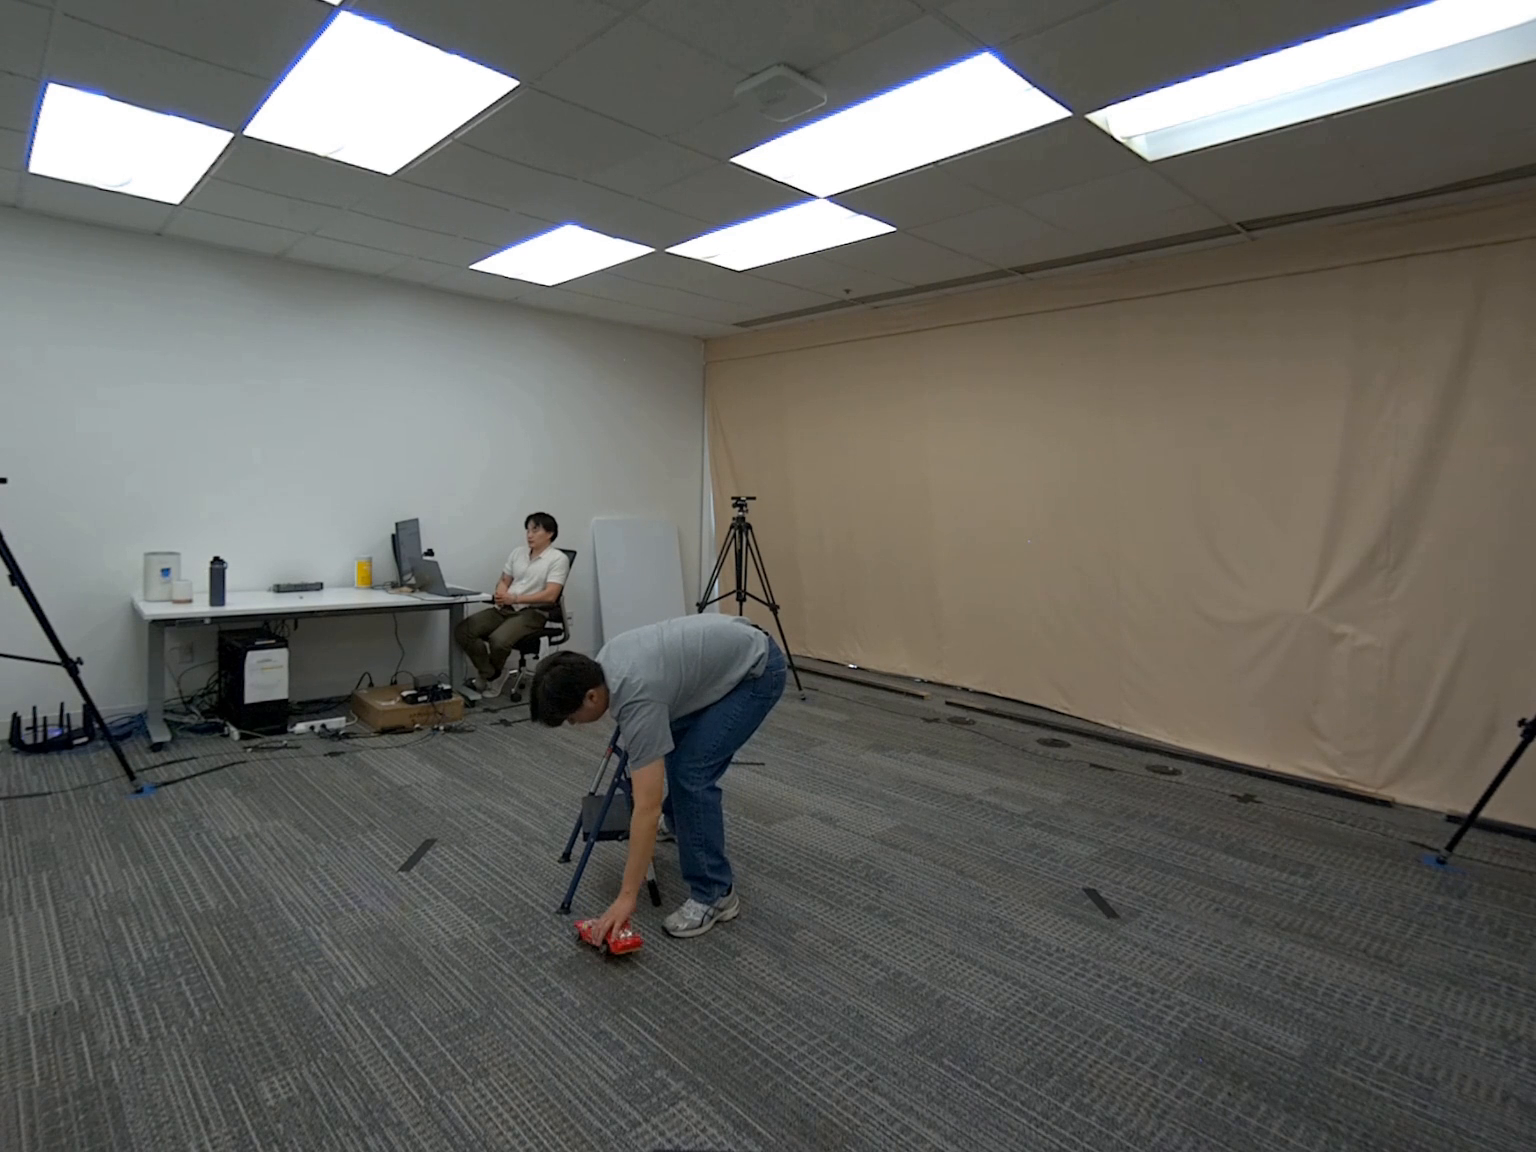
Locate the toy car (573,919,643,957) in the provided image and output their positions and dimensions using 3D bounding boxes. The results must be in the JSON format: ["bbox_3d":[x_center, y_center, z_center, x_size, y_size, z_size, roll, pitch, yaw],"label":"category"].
[{"bbox_3d":[-0.507,1.111,2.564,0.259,0.084,0.127,-10,-14,42],"label":"toy car"}]
